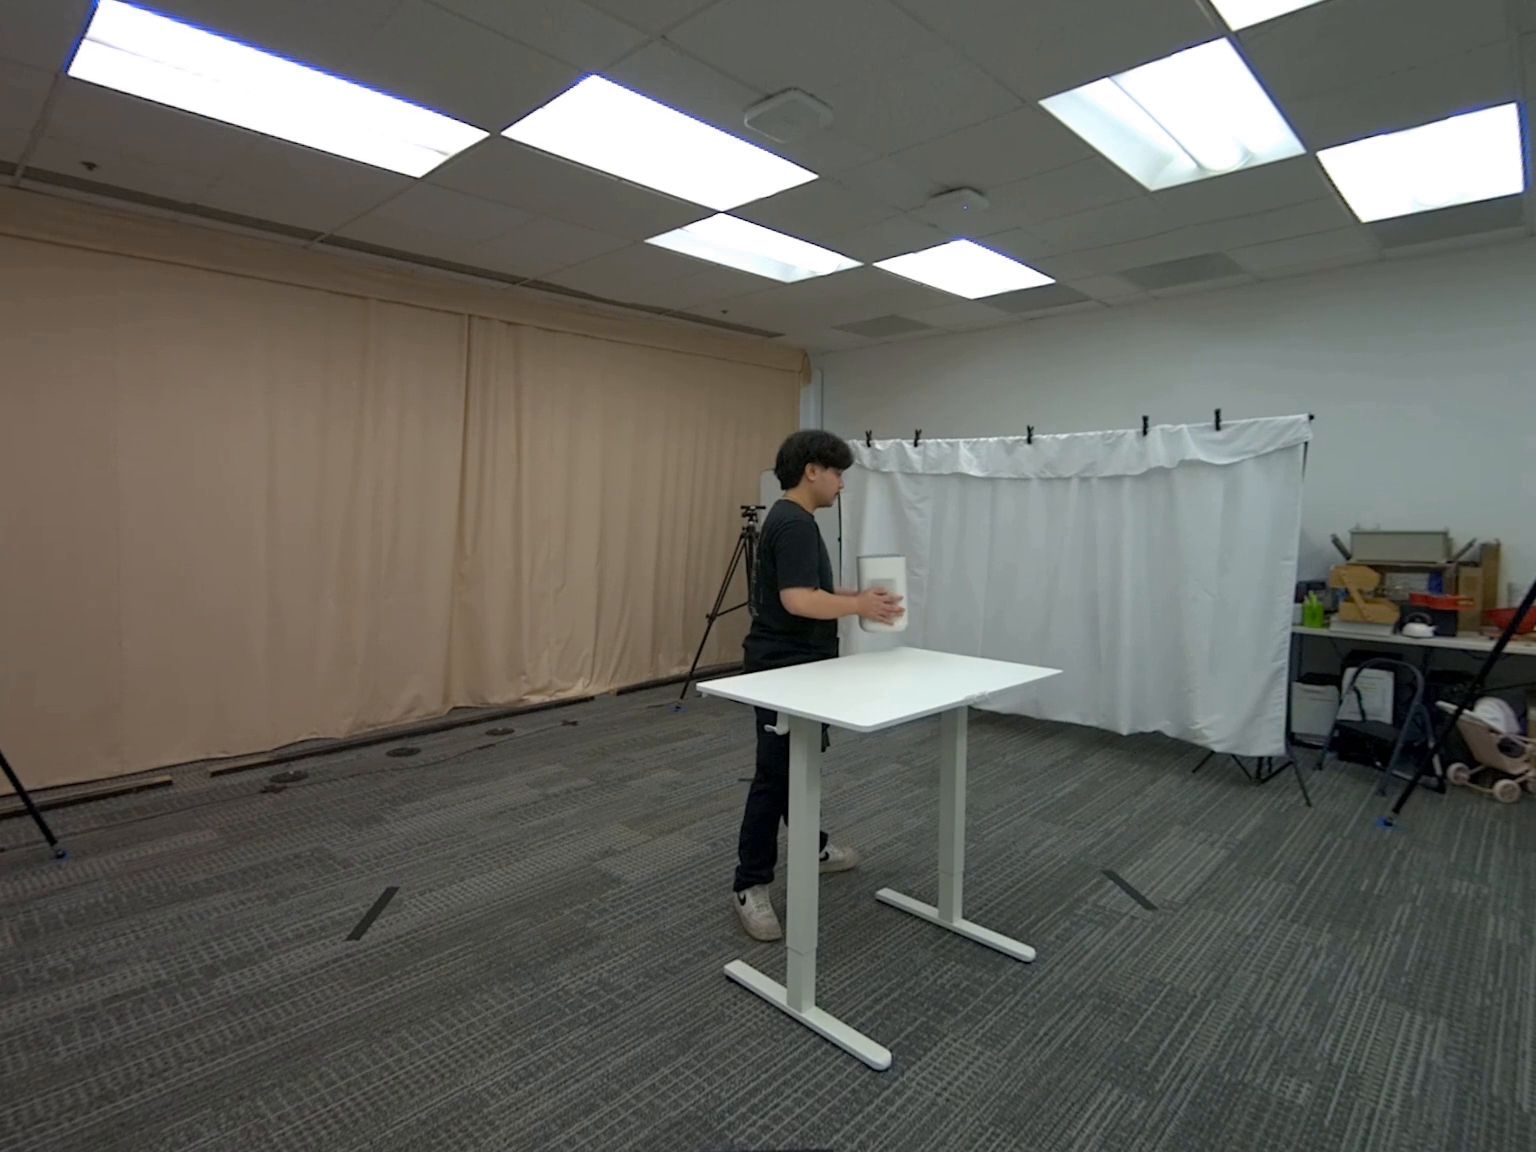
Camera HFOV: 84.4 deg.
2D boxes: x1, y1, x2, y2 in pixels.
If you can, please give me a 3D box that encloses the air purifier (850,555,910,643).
[{"bbox_3d":[0.410,0.059,2.958,0.173,0.265,0.169,-2,2,9],"label":"air purifier"}]
